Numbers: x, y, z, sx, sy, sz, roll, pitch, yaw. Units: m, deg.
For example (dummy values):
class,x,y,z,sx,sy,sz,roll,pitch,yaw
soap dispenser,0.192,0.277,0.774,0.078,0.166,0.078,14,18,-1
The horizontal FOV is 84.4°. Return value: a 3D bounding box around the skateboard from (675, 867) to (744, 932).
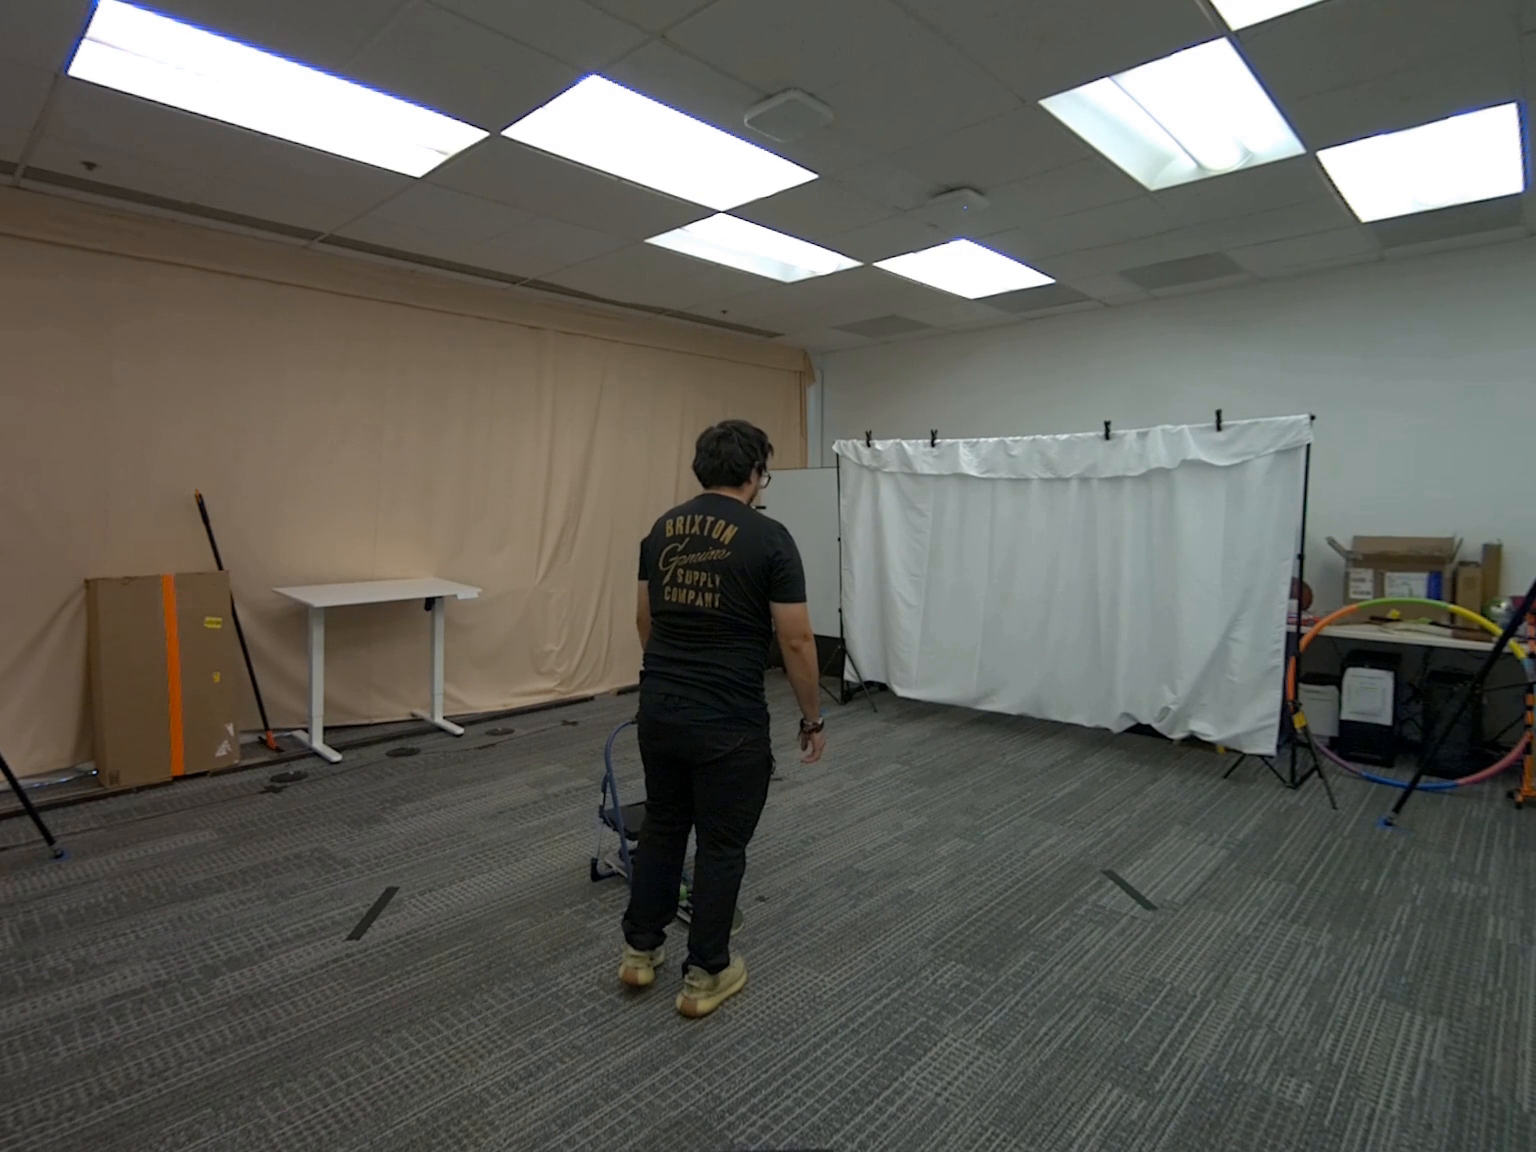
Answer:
class,x,y,z,sx,sy,sz,roll,pitch,yaw
skateboard,-0.365,1.091,3.038,0.188,0.110,0.811,-3,6,-39
